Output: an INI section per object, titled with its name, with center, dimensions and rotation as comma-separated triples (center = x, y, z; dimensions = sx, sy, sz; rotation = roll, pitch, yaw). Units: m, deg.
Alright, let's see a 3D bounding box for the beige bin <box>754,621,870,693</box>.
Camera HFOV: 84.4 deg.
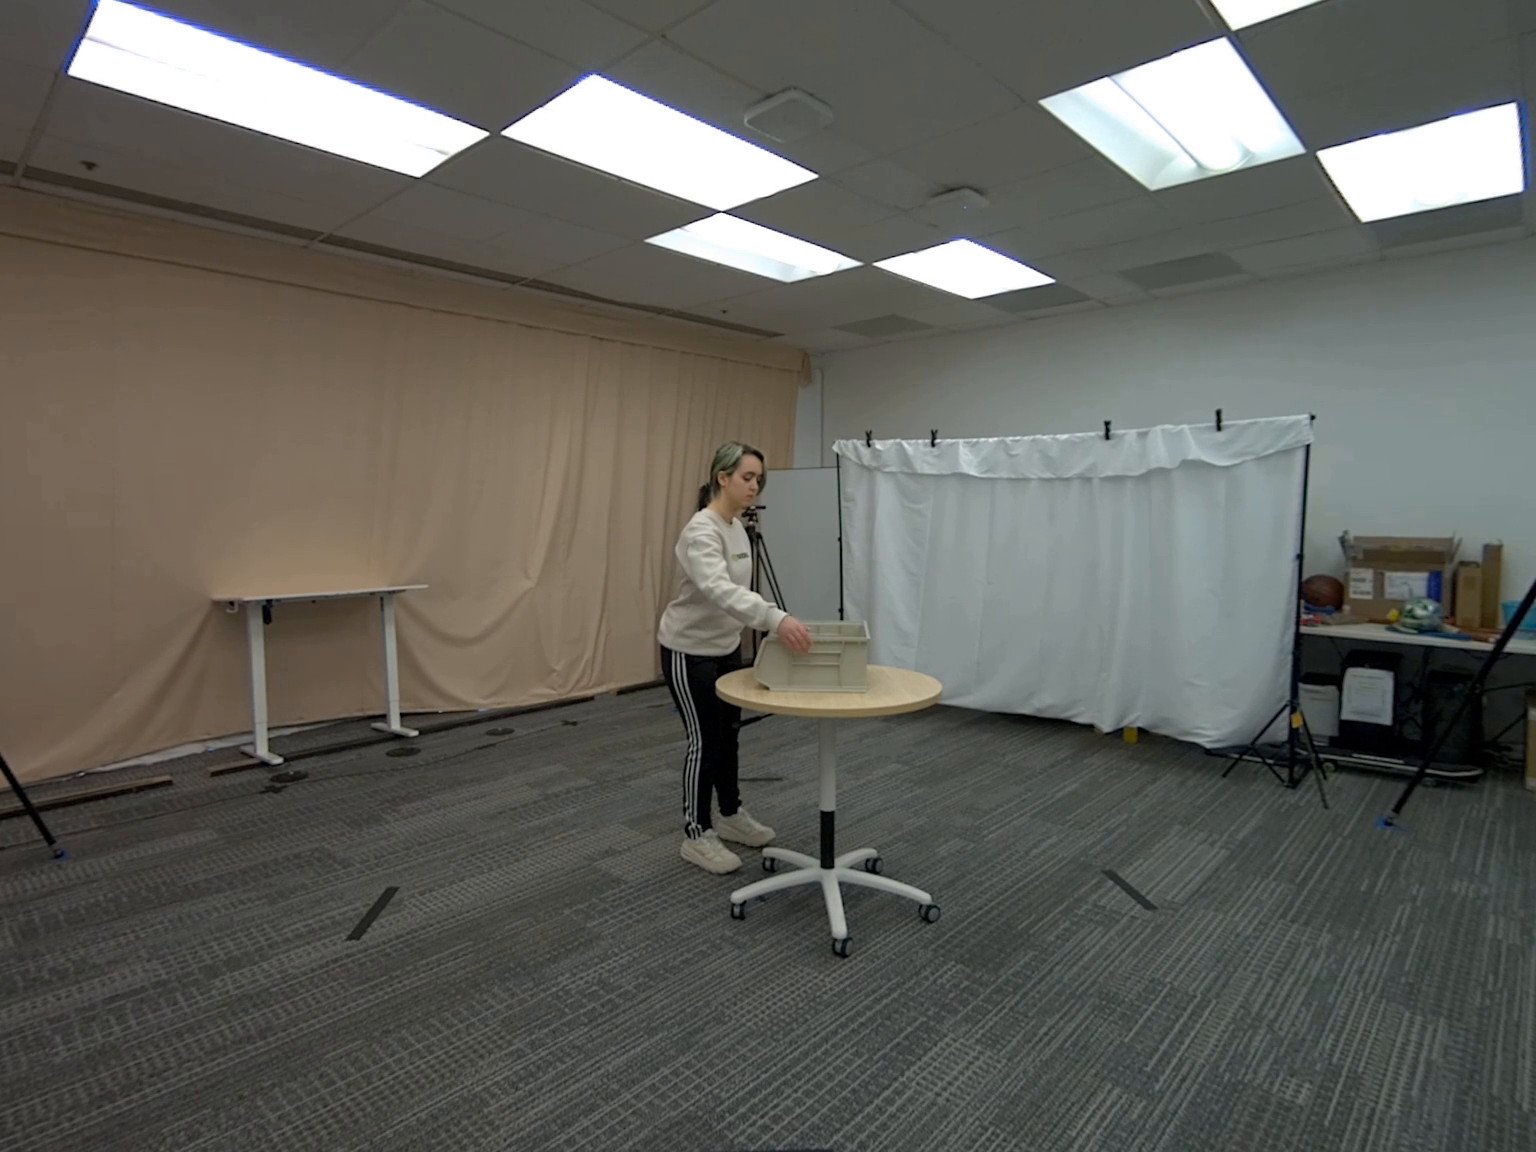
[beige bin]
center = 0.164, 0.270, 2.943
dimensions = 0.380, 0.188, 0.420
rotation = 2, 4, 5
